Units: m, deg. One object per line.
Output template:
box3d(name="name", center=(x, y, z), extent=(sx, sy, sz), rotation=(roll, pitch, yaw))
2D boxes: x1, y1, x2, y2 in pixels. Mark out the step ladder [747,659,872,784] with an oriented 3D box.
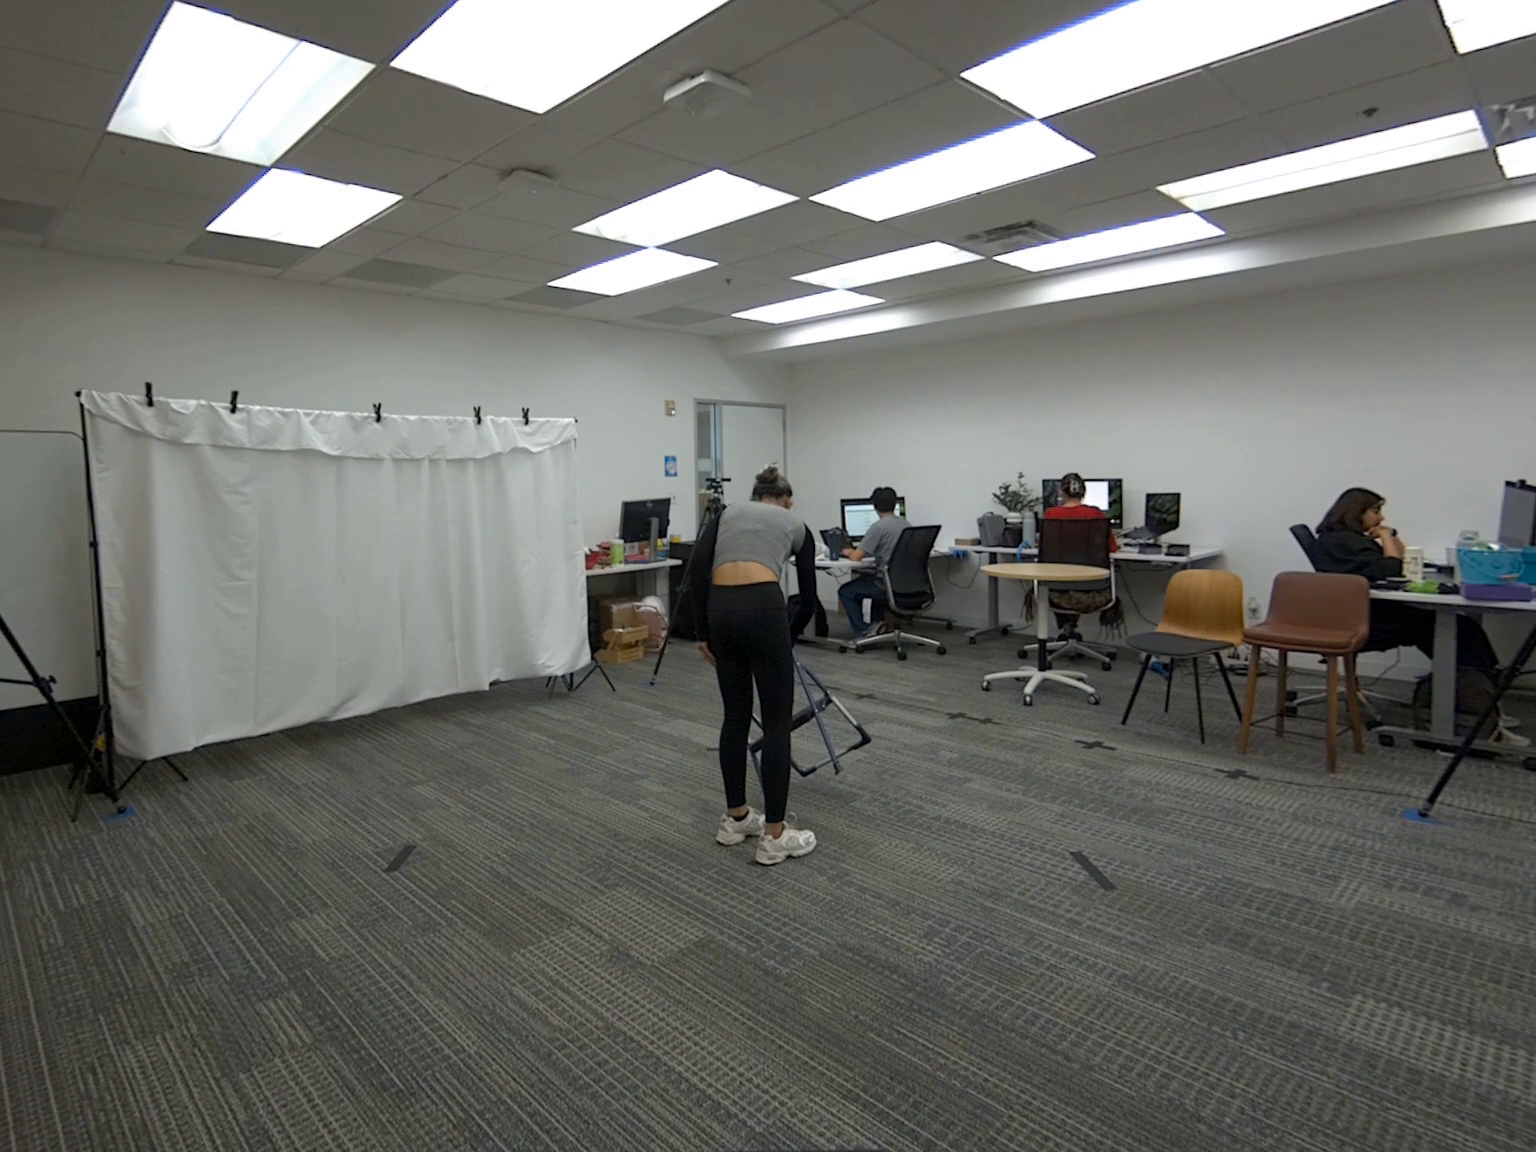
box3d(name="step ladder", center=(0.069, 0.590, 3.674), extent=(0.433, 0.614, 0.343), rotation=(-38, -11, 32))
